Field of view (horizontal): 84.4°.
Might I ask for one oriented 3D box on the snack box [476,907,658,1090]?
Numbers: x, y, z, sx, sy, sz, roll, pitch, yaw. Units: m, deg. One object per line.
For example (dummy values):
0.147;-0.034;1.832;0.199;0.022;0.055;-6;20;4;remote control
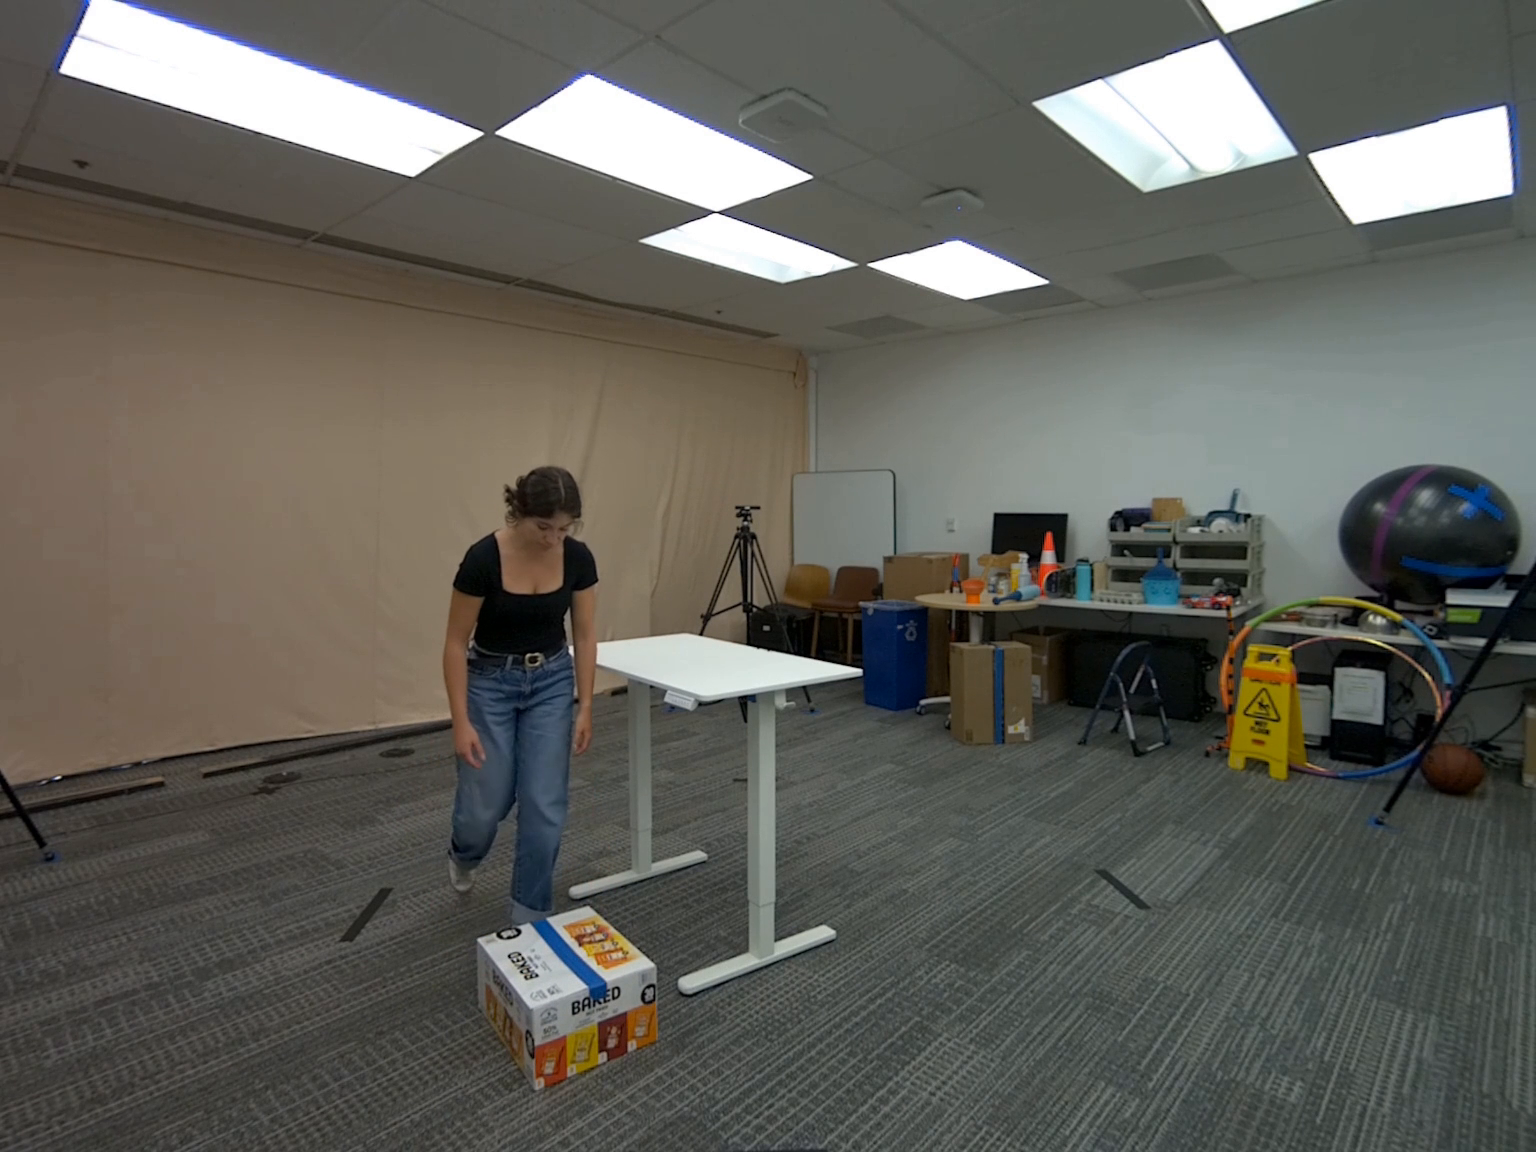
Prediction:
-0.544;1.110;2.249;0.330;0.205;0.418;-3;5;-36;snack box
